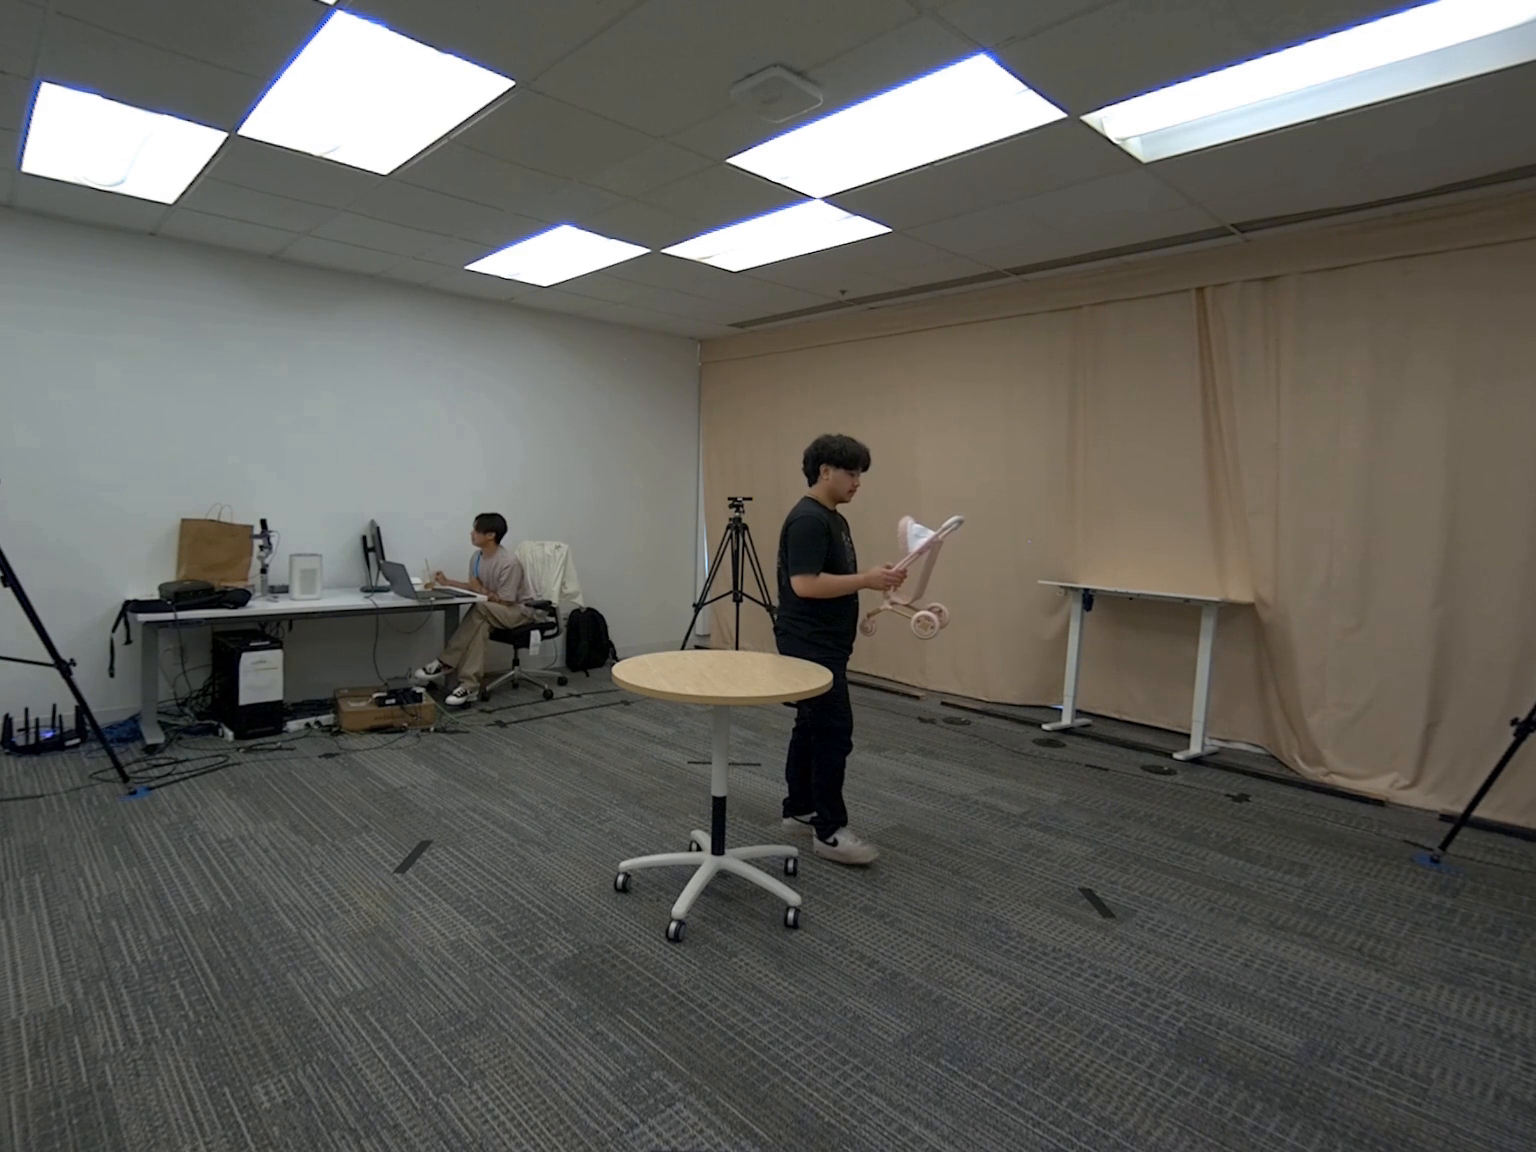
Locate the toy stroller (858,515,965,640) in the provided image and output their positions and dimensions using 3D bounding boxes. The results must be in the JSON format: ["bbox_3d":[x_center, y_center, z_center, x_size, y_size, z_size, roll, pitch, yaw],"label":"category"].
[{"bbox_3d":[0.553,0.005,3.346,0.349,0.532,0.276,12,9,26],"label":"toy stroller"}]
